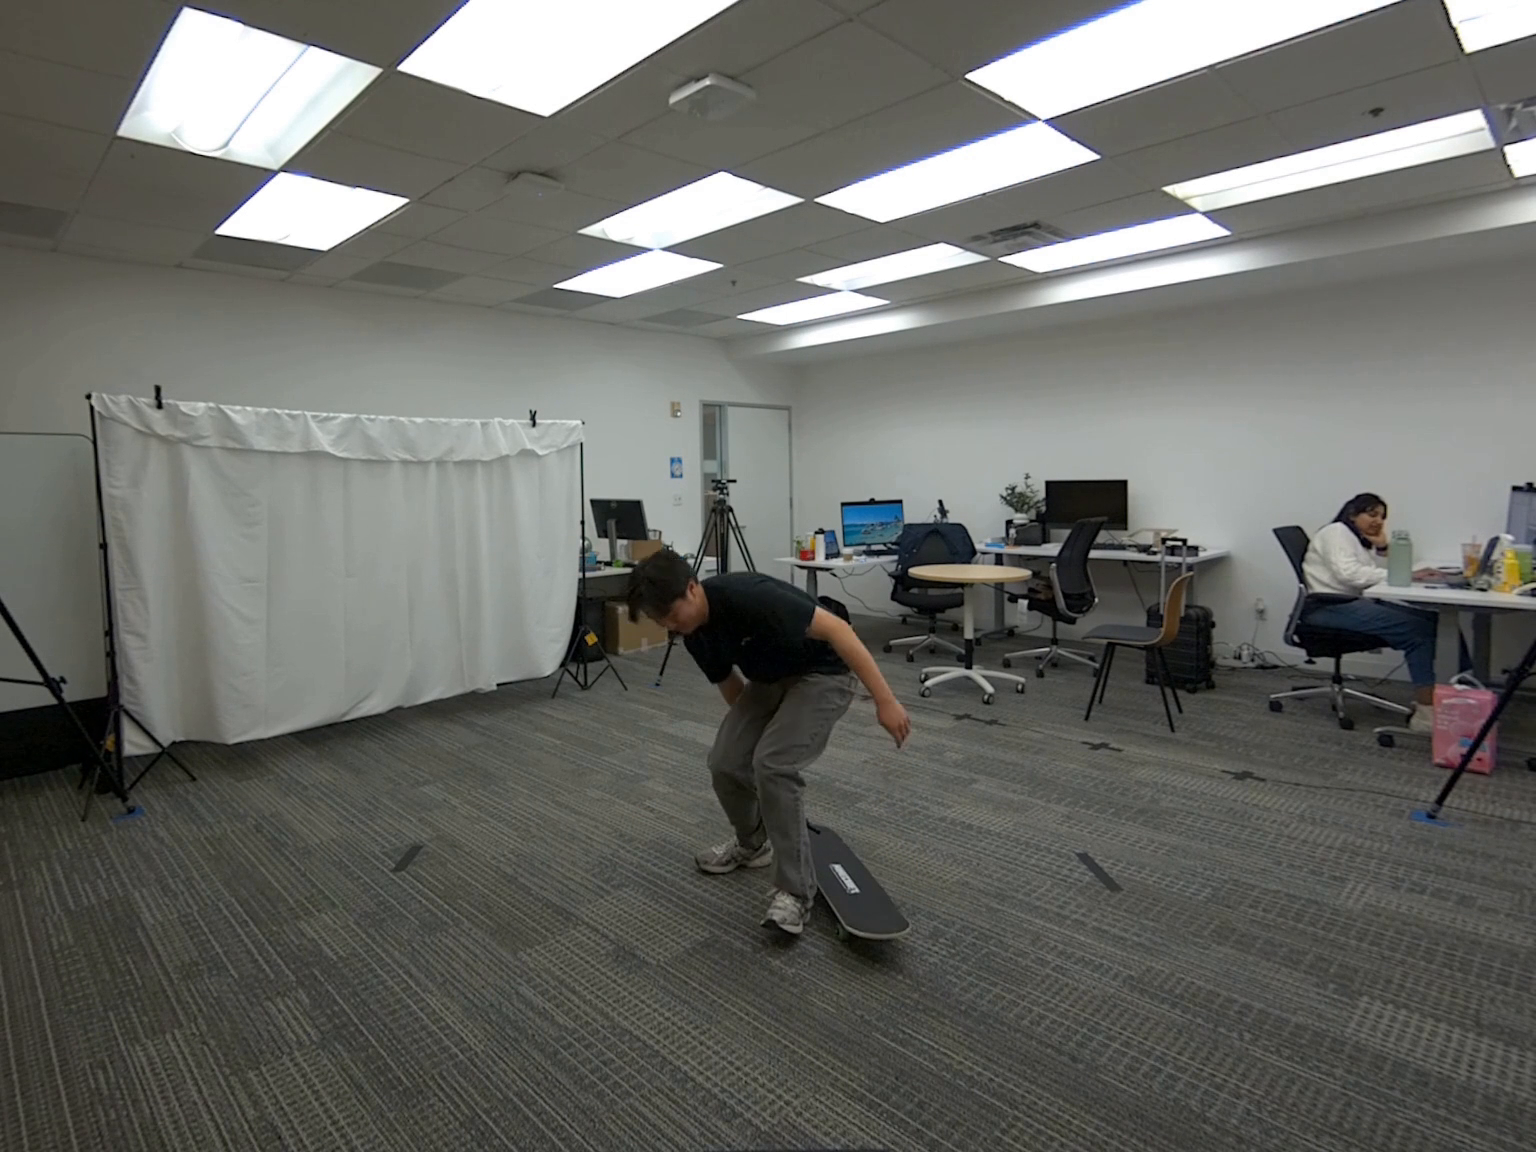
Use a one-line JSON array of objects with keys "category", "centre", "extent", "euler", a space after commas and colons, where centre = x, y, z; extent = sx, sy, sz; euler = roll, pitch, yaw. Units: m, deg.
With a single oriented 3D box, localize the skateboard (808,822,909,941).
[{"category": "skateboard", "centre": [0.254, 1.016, 2.795], "extent": [0.191, 0.110, 0.798], "euler": [-2, 7, -13]}]
